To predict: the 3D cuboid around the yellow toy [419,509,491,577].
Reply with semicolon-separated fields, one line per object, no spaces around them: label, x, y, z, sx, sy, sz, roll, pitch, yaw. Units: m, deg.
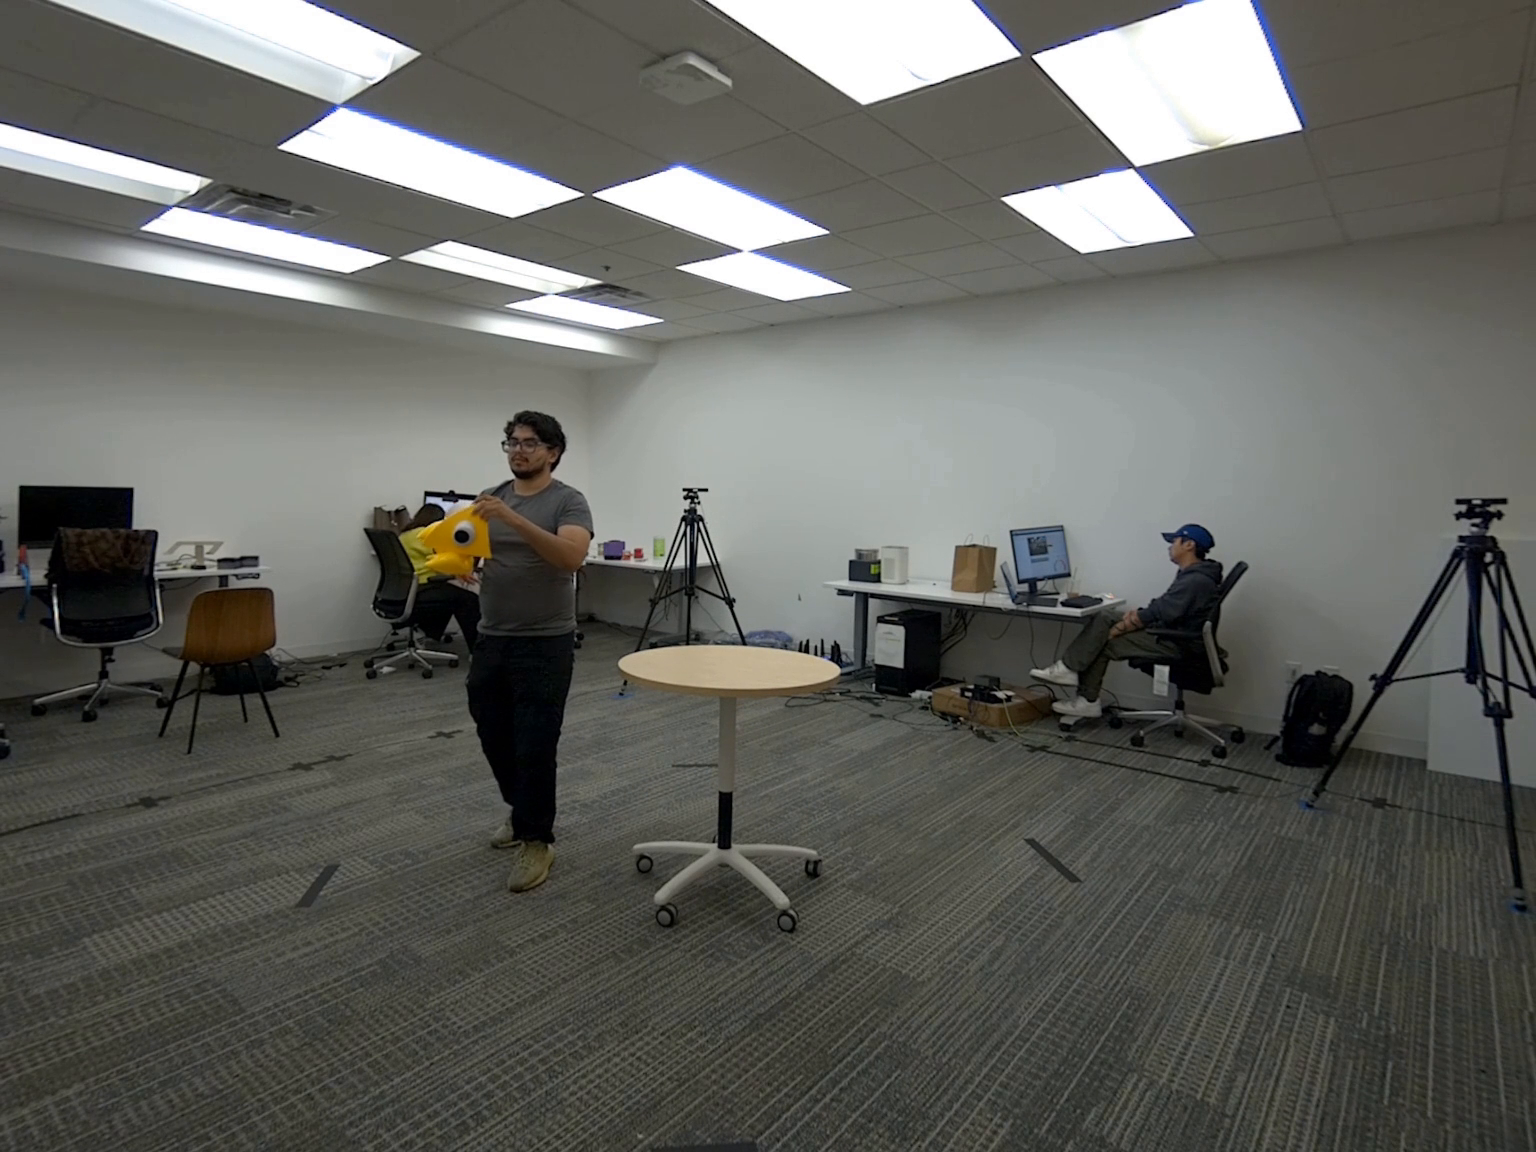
yellow toy;-0.995;-0.161;2.705;0.187;0.229;0.213;4;42;-40
